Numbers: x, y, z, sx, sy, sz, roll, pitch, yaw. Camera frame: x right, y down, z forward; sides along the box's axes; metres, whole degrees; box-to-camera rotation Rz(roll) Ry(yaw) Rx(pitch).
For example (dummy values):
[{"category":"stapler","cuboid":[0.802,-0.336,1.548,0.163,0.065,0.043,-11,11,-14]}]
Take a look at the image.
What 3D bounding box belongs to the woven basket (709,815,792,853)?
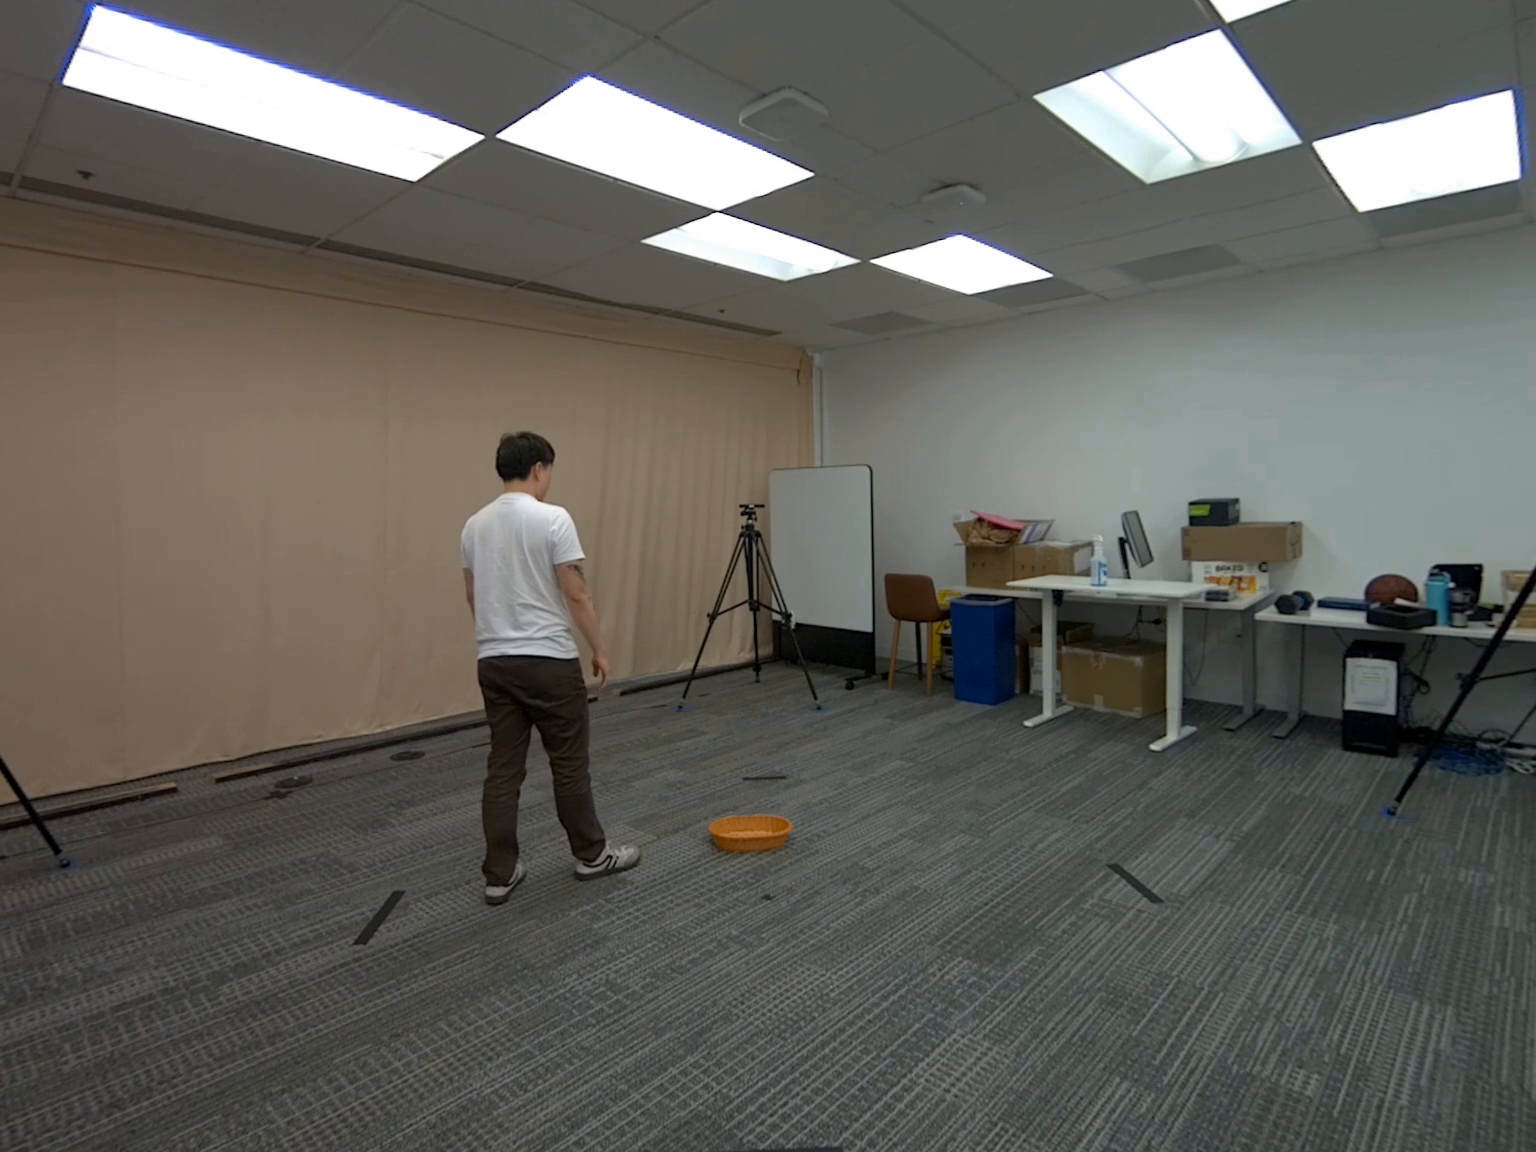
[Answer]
[{"category":"woven basket","cuboid":[-0.073,1.059,3.469,0.348,0.073,0.254,-2,4,-5]}]
